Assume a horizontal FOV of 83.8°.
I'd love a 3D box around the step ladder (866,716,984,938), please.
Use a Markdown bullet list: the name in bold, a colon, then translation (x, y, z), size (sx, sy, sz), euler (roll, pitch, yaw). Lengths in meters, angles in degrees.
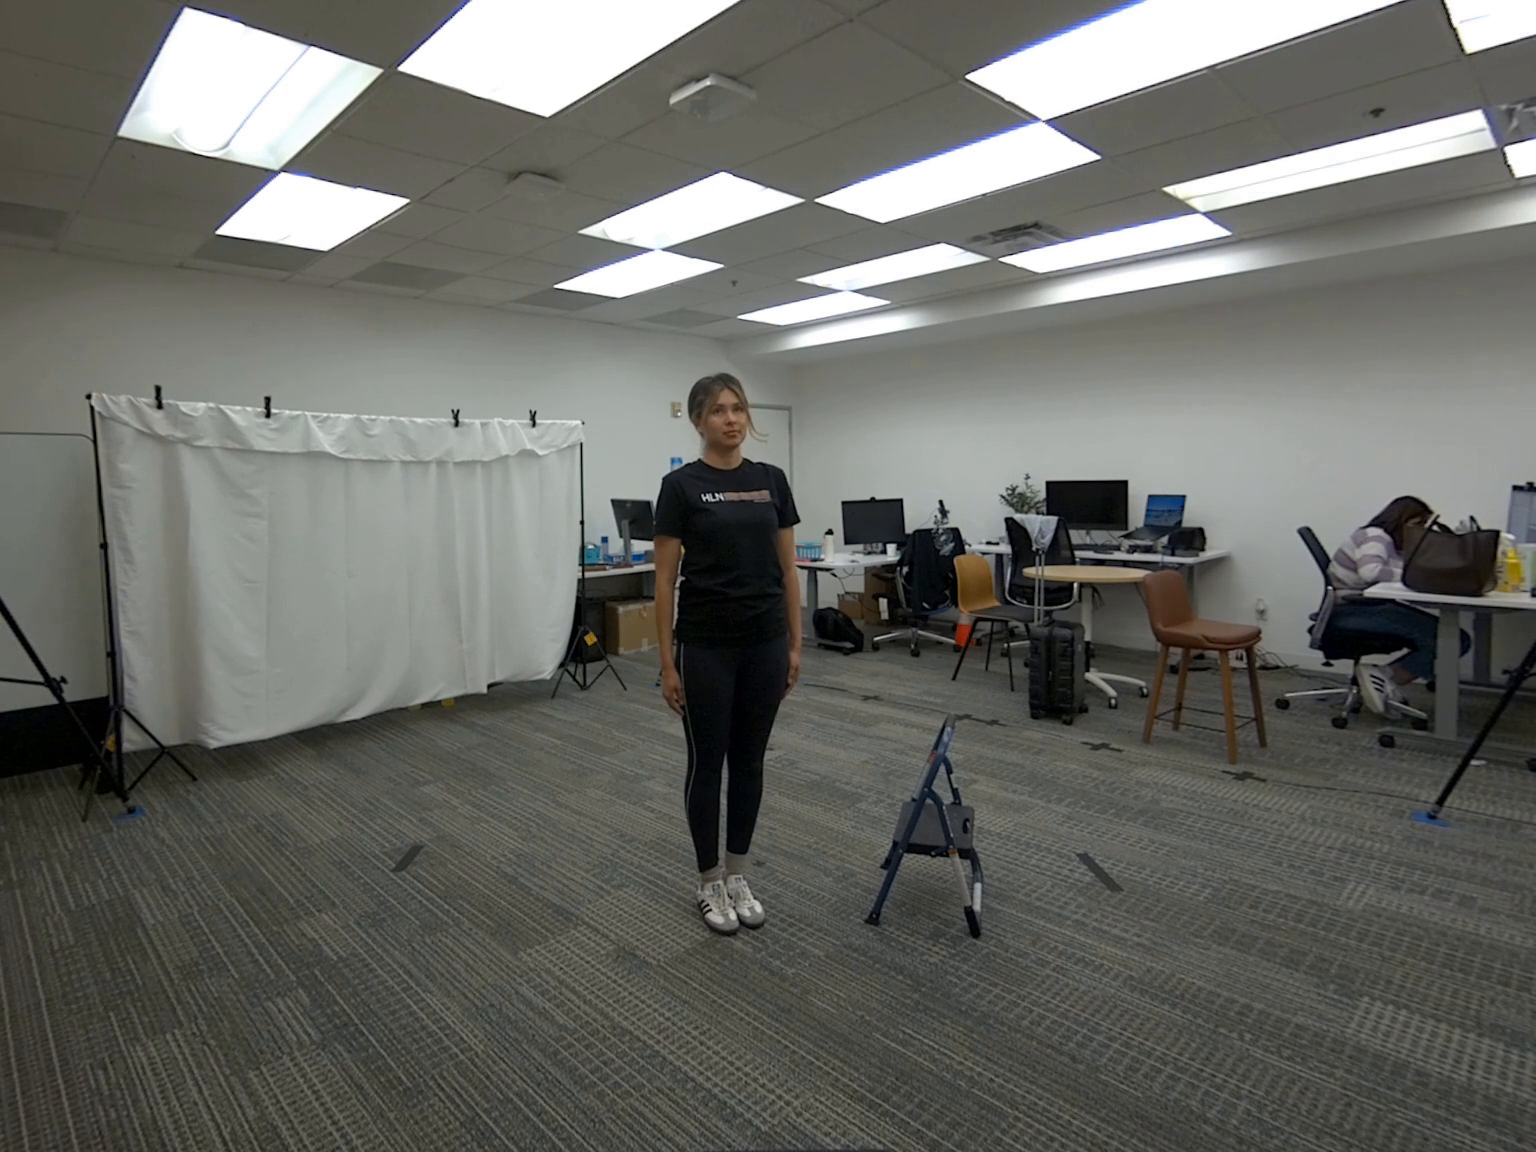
- **step ladder**: translation (0.521, 0.766, 2.808), size (0.355, 0.604, 0.425), euler (0, 4, 16)
